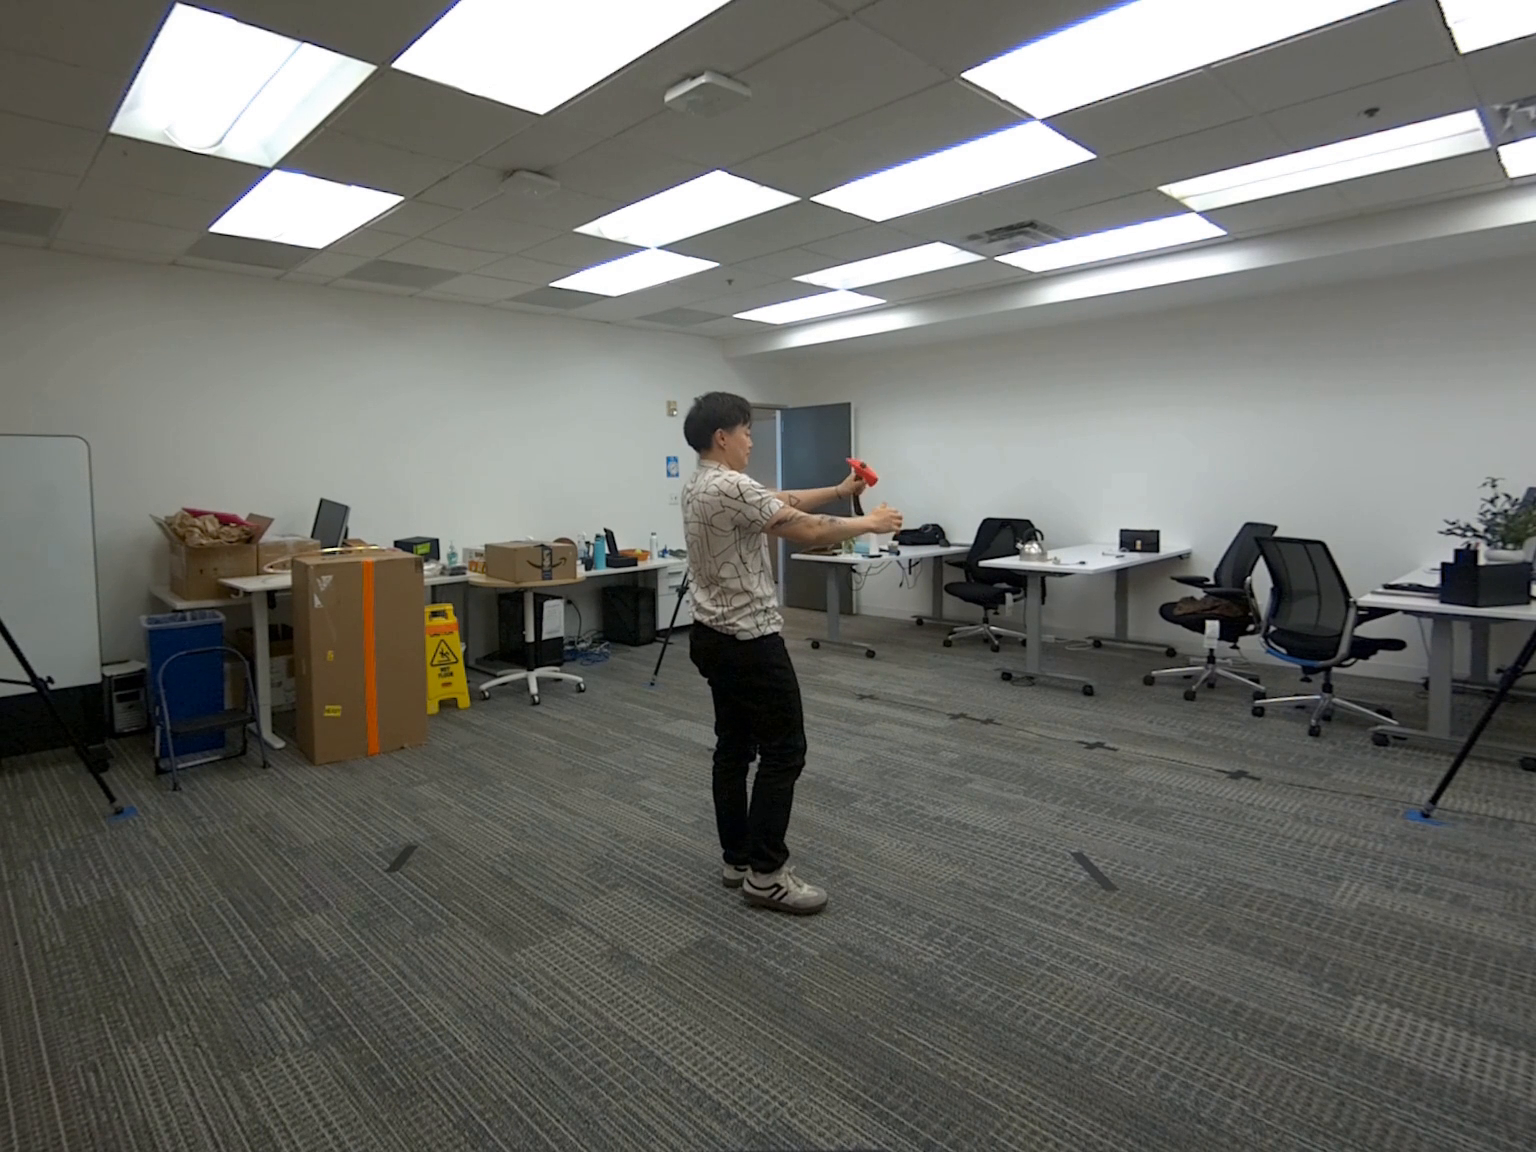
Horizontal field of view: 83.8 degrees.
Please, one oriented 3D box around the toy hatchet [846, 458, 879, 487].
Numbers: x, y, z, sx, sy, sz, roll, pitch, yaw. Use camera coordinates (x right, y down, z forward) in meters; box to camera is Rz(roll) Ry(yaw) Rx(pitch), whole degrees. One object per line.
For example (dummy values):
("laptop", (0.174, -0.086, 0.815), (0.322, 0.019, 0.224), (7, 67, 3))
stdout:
("toy hatchet", (0.343, -0.295, 3.039), (0.136, 0.261, 0.029), (24, 55, 37))
